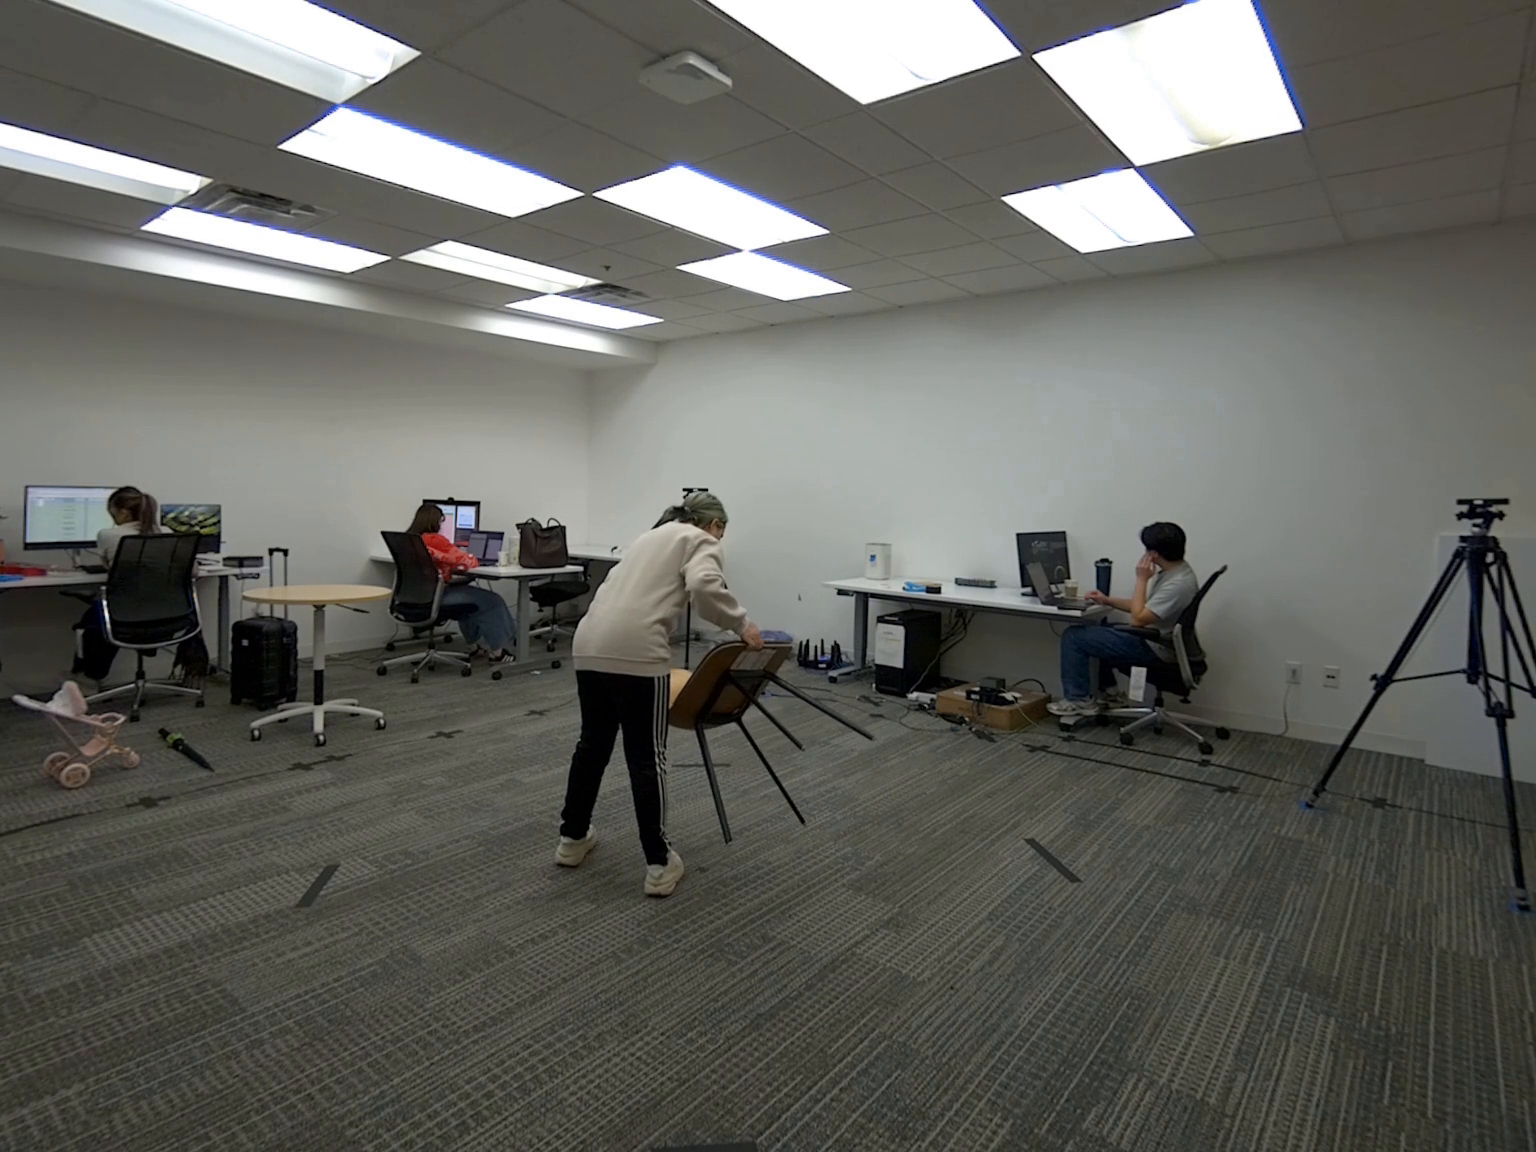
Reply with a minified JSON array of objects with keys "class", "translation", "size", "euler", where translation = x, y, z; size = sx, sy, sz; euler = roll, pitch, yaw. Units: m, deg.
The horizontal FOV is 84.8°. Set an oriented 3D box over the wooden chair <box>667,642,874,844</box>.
[{"class":"wooden chair","translation":[-0.127,0.455,3.108],"size":[0.461,0.520,0.913],"euler":[7,28,-50]}]
